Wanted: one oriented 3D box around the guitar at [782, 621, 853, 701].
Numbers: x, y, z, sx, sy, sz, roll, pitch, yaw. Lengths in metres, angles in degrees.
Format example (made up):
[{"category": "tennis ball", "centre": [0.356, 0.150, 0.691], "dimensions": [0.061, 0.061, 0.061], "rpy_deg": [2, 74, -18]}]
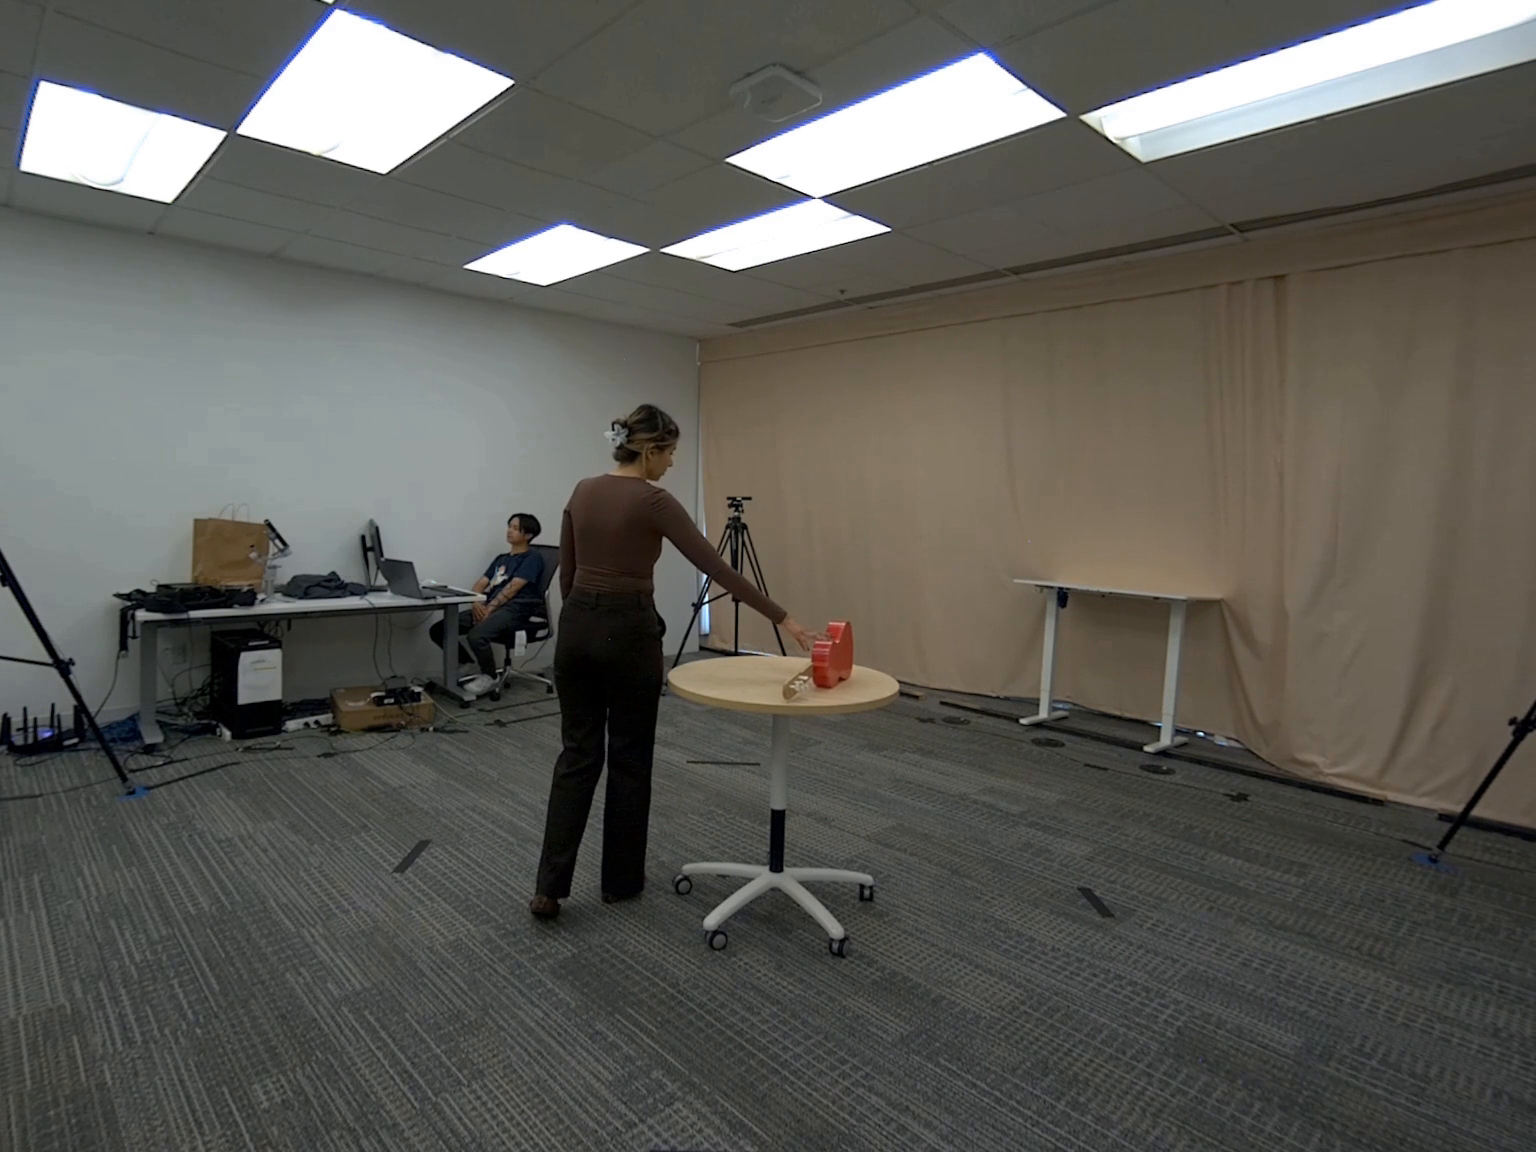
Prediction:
[{"category": "guitar", "centre": [0.159, 0.315, 2.660], "dimensions": [0.072, 0.190, 0.496], "rpy_deg": [2, 22, 22]}]
